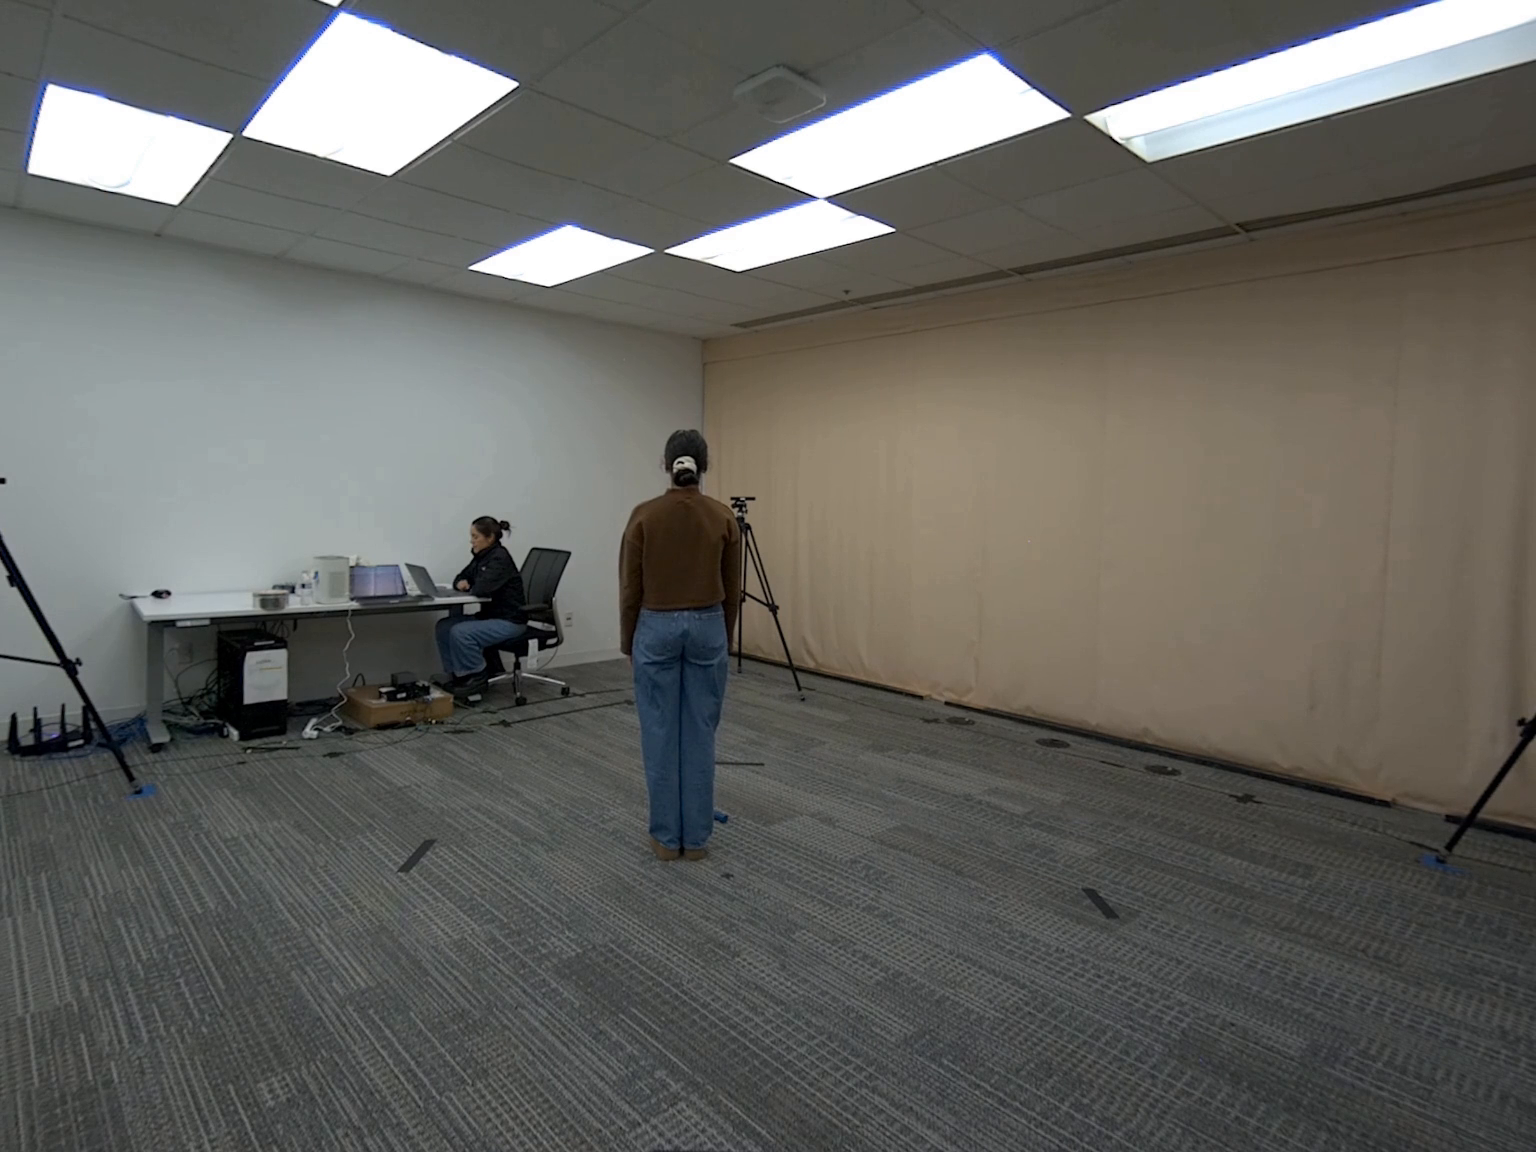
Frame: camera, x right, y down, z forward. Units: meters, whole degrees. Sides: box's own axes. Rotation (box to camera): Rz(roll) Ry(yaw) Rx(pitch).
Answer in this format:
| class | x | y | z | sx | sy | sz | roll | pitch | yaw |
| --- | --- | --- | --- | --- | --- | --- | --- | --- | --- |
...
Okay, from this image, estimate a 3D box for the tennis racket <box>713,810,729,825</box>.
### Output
| class | x | y | z | sx | sy | sz | roll | pitch | yaw |
| --- | --- | --- | --- | --- | --- | --- | --- | --- | --- |
| tennis racket | -0.341 | 1.035 | 3.779 | 0.209 | 0.032 | 0.444 | -3 | 6 | -41 |
